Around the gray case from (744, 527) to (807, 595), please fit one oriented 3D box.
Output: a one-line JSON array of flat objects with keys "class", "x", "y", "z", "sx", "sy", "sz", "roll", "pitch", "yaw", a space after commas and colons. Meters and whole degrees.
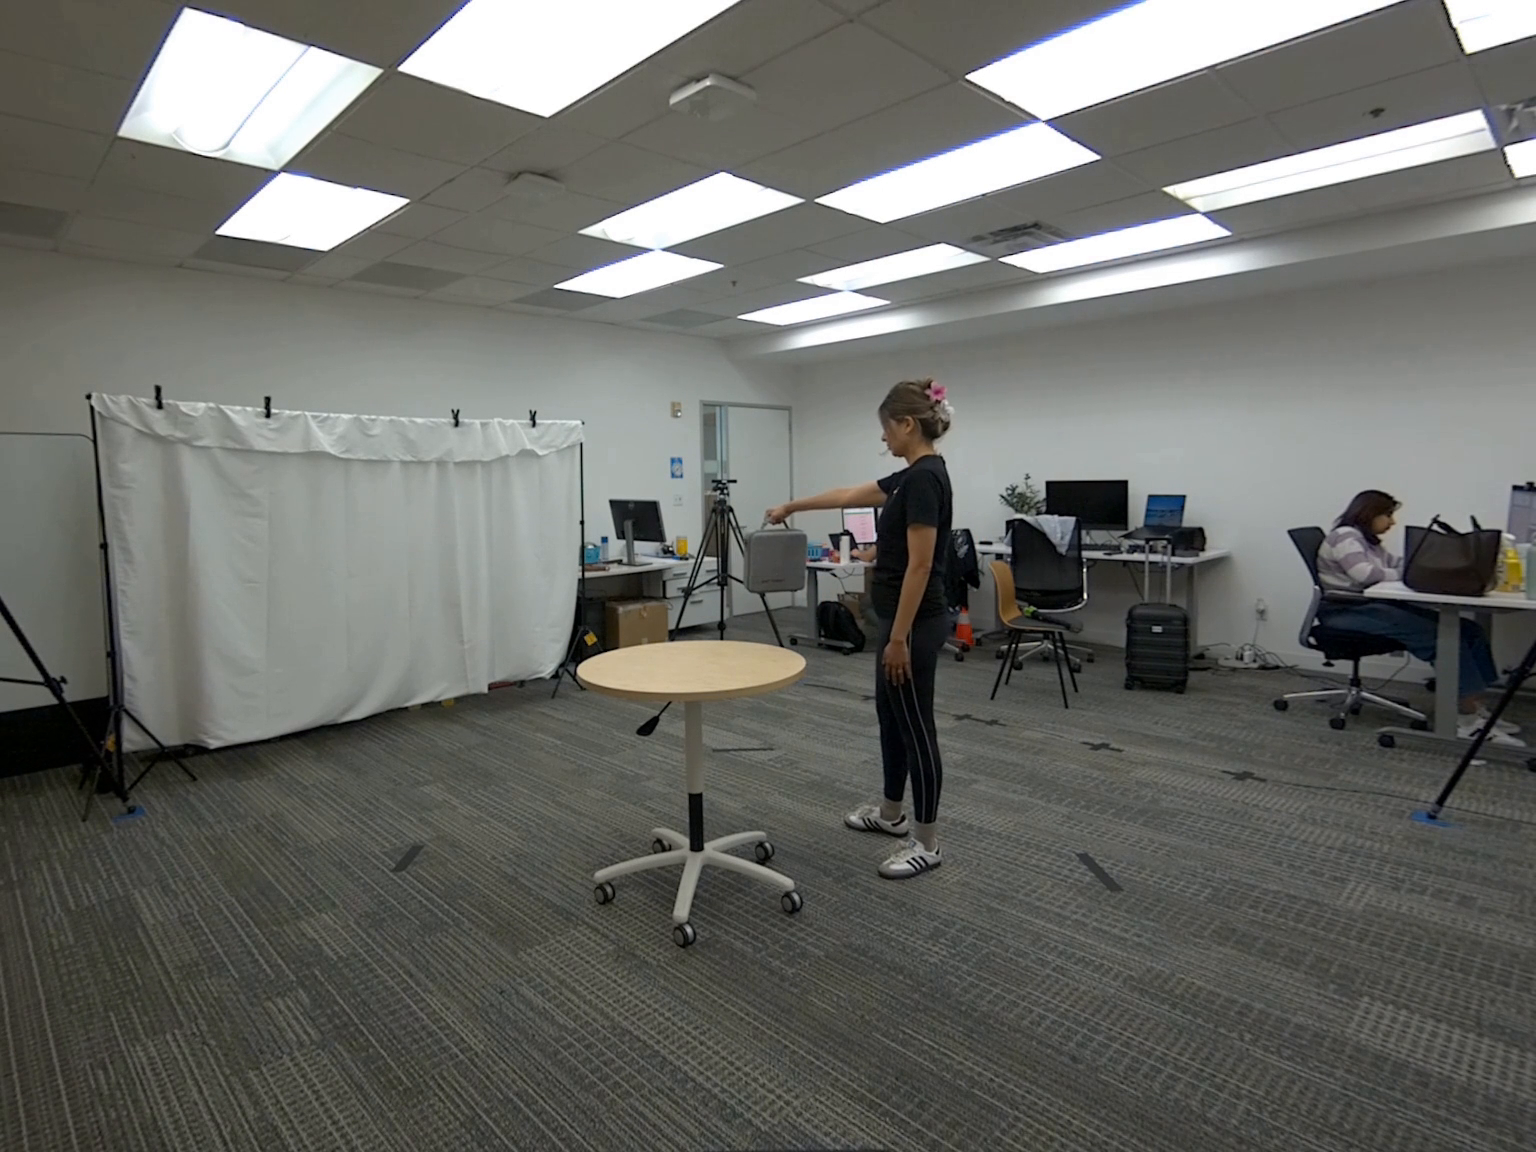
[{"class": "gray case", "x": 0.025, "y": -0.069, "z": 3.493, "sx": 0.252, "sy": 0.258, "sz": 0.107, "roll": -2, "pitch": 10, "yaw": -19}]
